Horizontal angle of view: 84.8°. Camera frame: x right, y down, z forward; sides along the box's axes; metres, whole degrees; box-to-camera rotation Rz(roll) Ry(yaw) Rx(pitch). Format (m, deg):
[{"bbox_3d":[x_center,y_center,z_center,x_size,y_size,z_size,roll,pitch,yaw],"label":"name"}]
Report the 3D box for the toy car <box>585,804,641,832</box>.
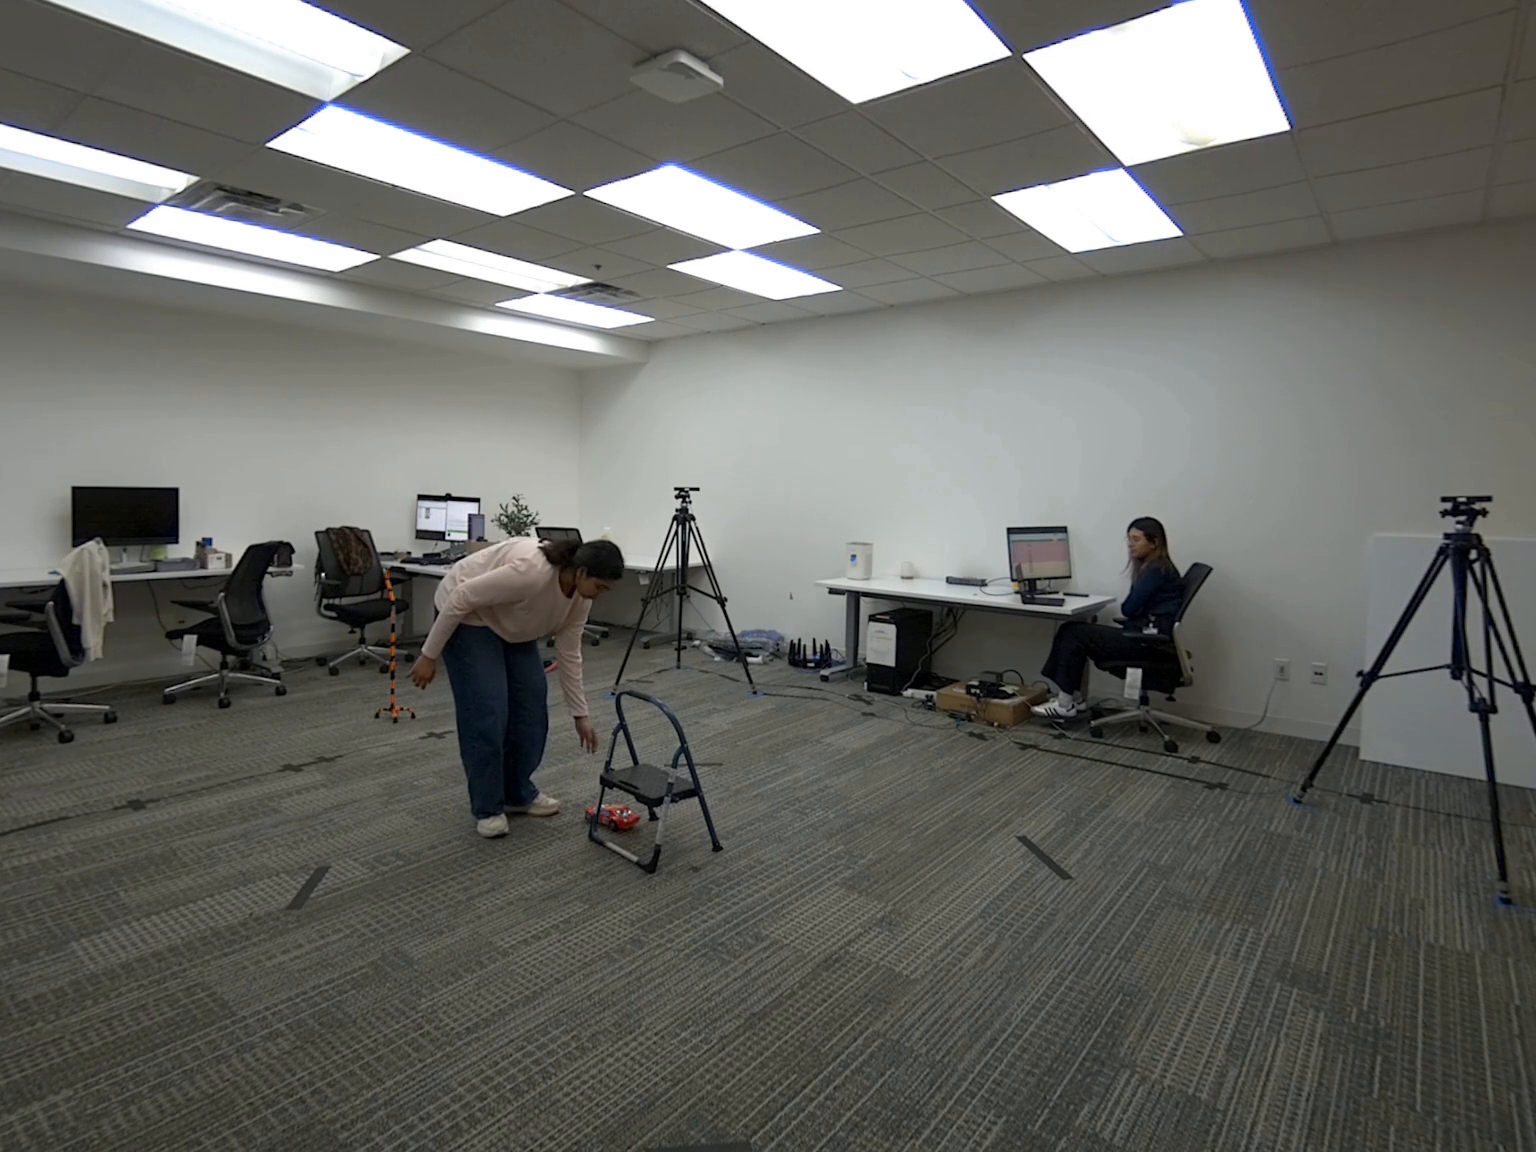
[{"bbox_3d":[-0.651,0.988,3.503,0.261,0.083,0.126,-9,-2,37],"label":"toy car"}]
